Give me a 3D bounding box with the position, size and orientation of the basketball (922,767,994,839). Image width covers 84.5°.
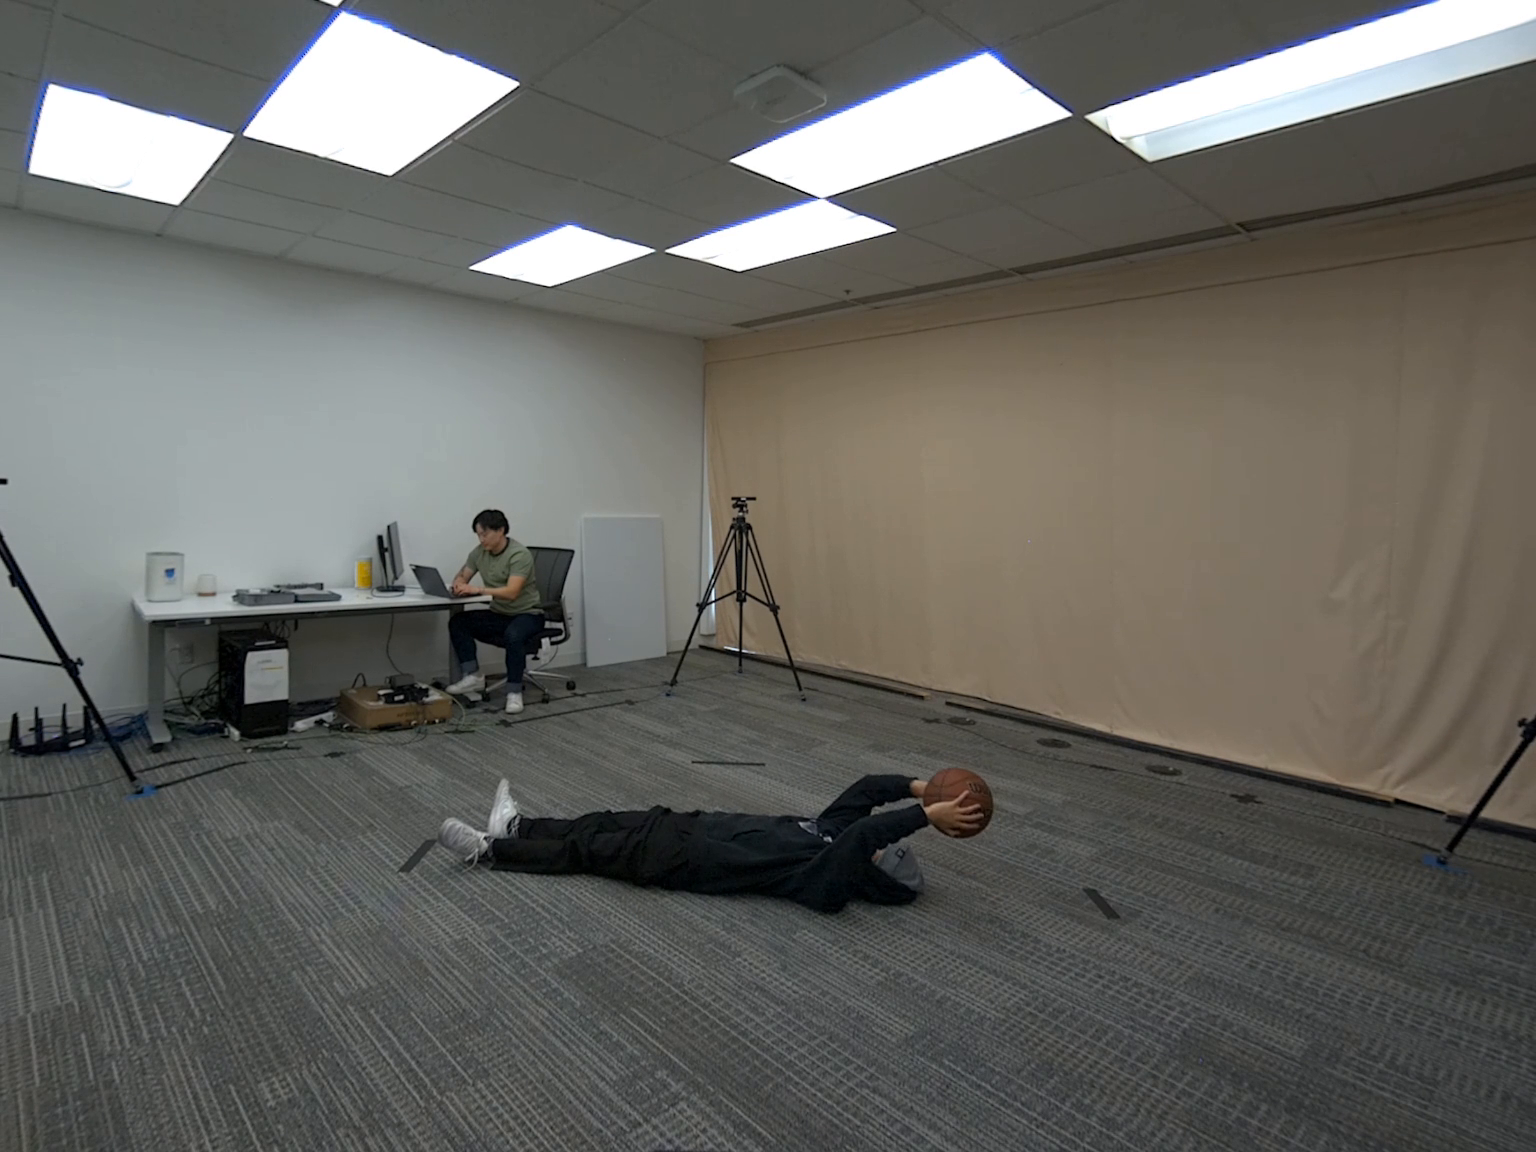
[{"bbox_3d":[0.657,0.793,2.943,0.236,0.235,0.237,1,4,-1],"label":"basketball"}]
